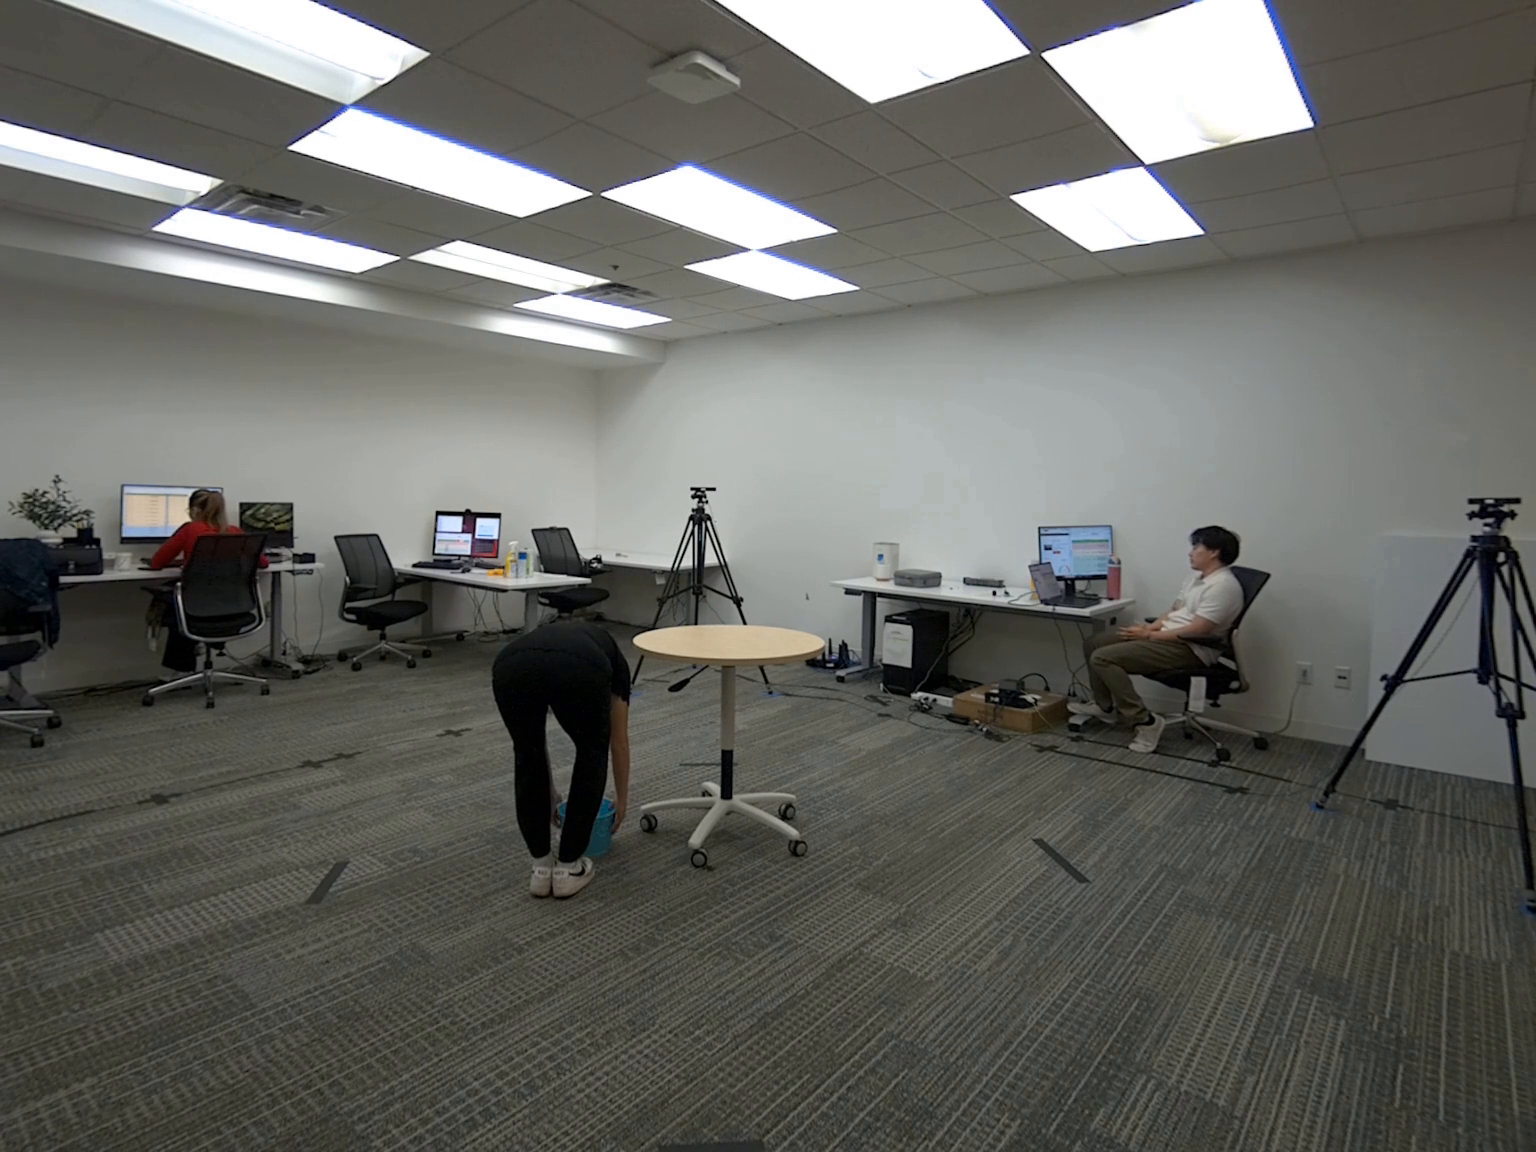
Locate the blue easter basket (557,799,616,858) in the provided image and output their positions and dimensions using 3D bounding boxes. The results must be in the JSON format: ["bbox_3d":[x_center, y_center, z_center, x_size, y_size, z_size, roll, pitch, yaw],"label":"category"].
[{"bbox_3d":[-0.704,0.961,3.263,0.243,0.155,0.245,-1,6,-2],"label":"blue easter basket"}]
